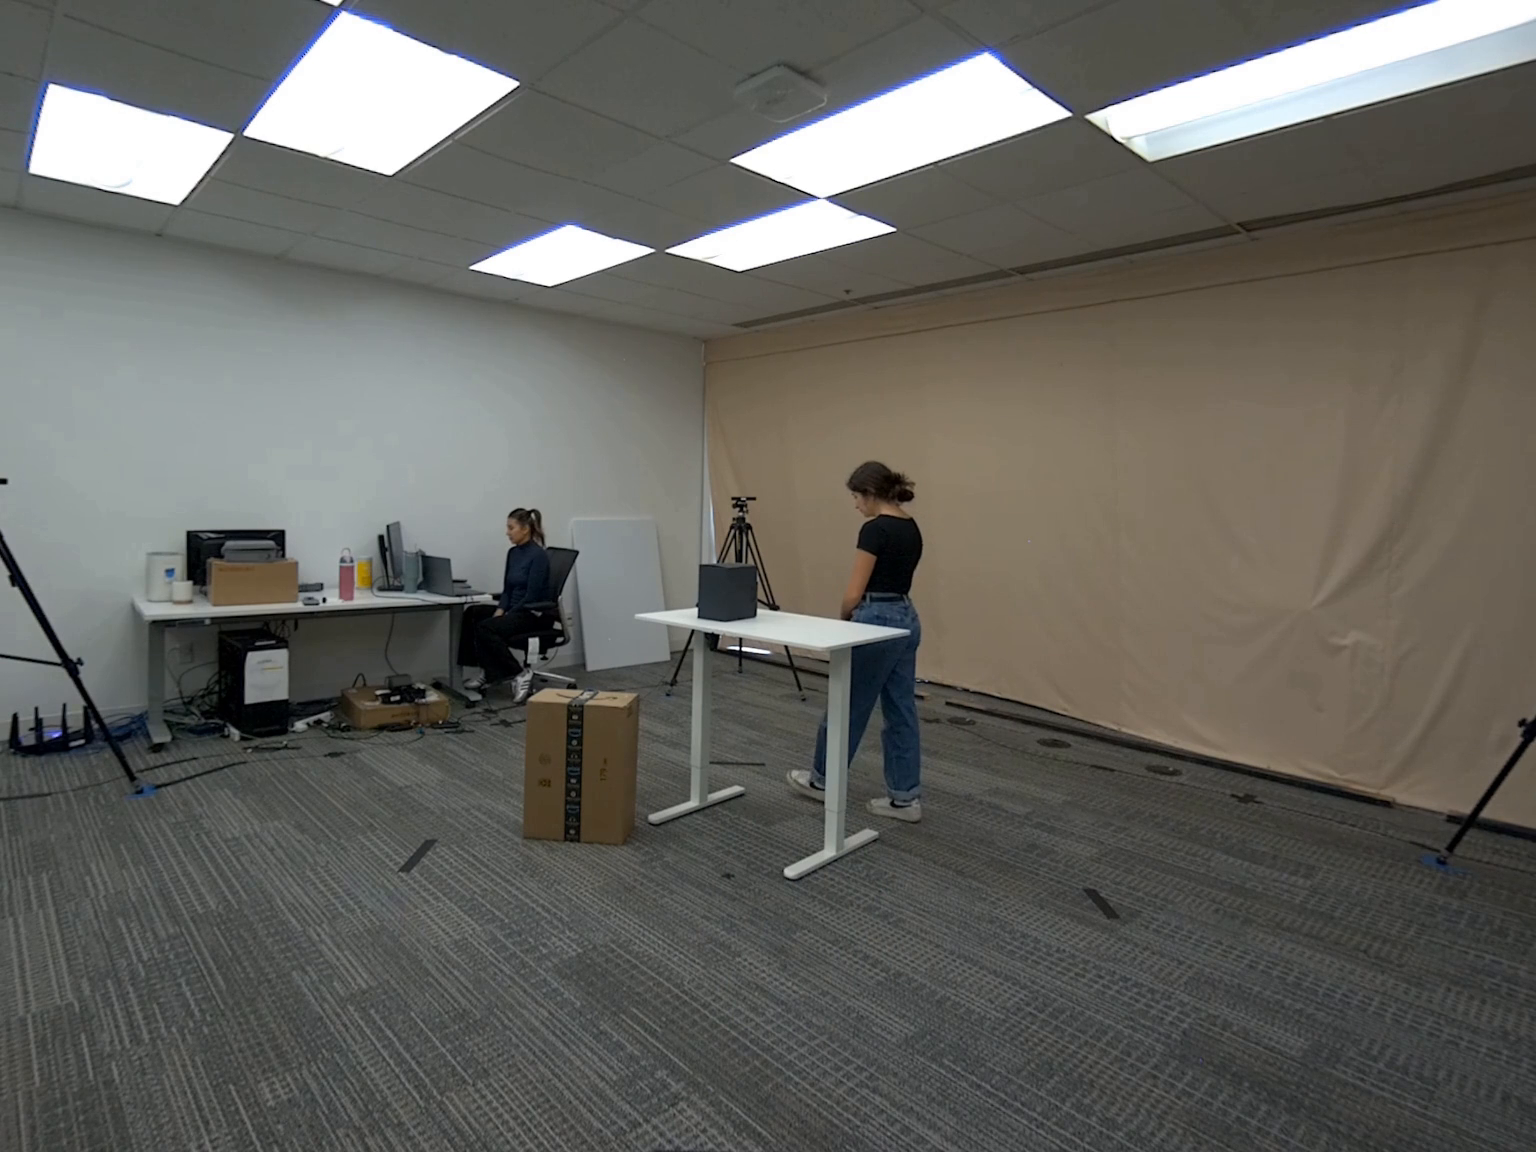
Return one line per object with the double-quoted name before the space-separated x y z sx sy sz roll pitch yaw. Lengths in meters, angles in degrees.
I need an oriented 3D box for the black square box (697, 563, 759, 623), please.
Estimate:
"black square box" -0.173 0.064 3.595 0.160 0.227 0.212 4 5 37
